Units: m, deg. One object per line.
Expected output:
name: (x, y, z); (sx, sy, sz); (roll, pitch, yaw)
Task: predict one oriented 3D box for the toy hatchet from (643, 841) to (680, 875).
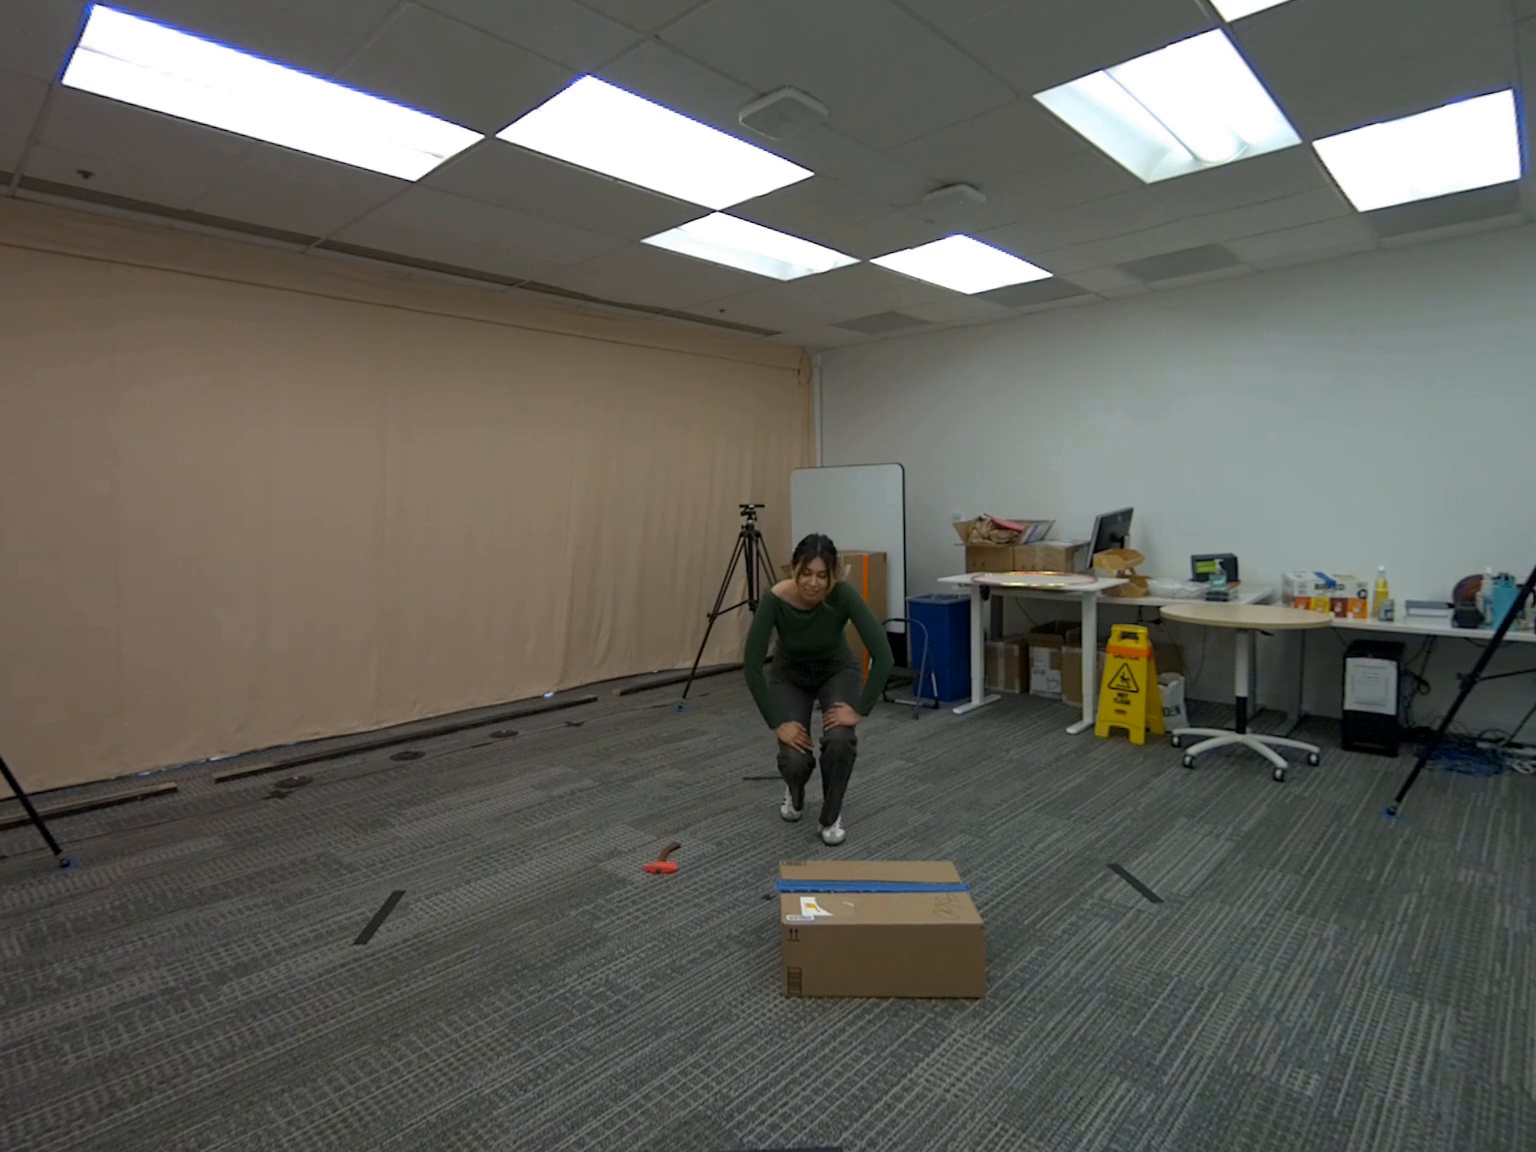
toy hatchet: (-0.382, 1.109, 3.307); (0.134, 0.029, 0.264); (0, 4, 21)
